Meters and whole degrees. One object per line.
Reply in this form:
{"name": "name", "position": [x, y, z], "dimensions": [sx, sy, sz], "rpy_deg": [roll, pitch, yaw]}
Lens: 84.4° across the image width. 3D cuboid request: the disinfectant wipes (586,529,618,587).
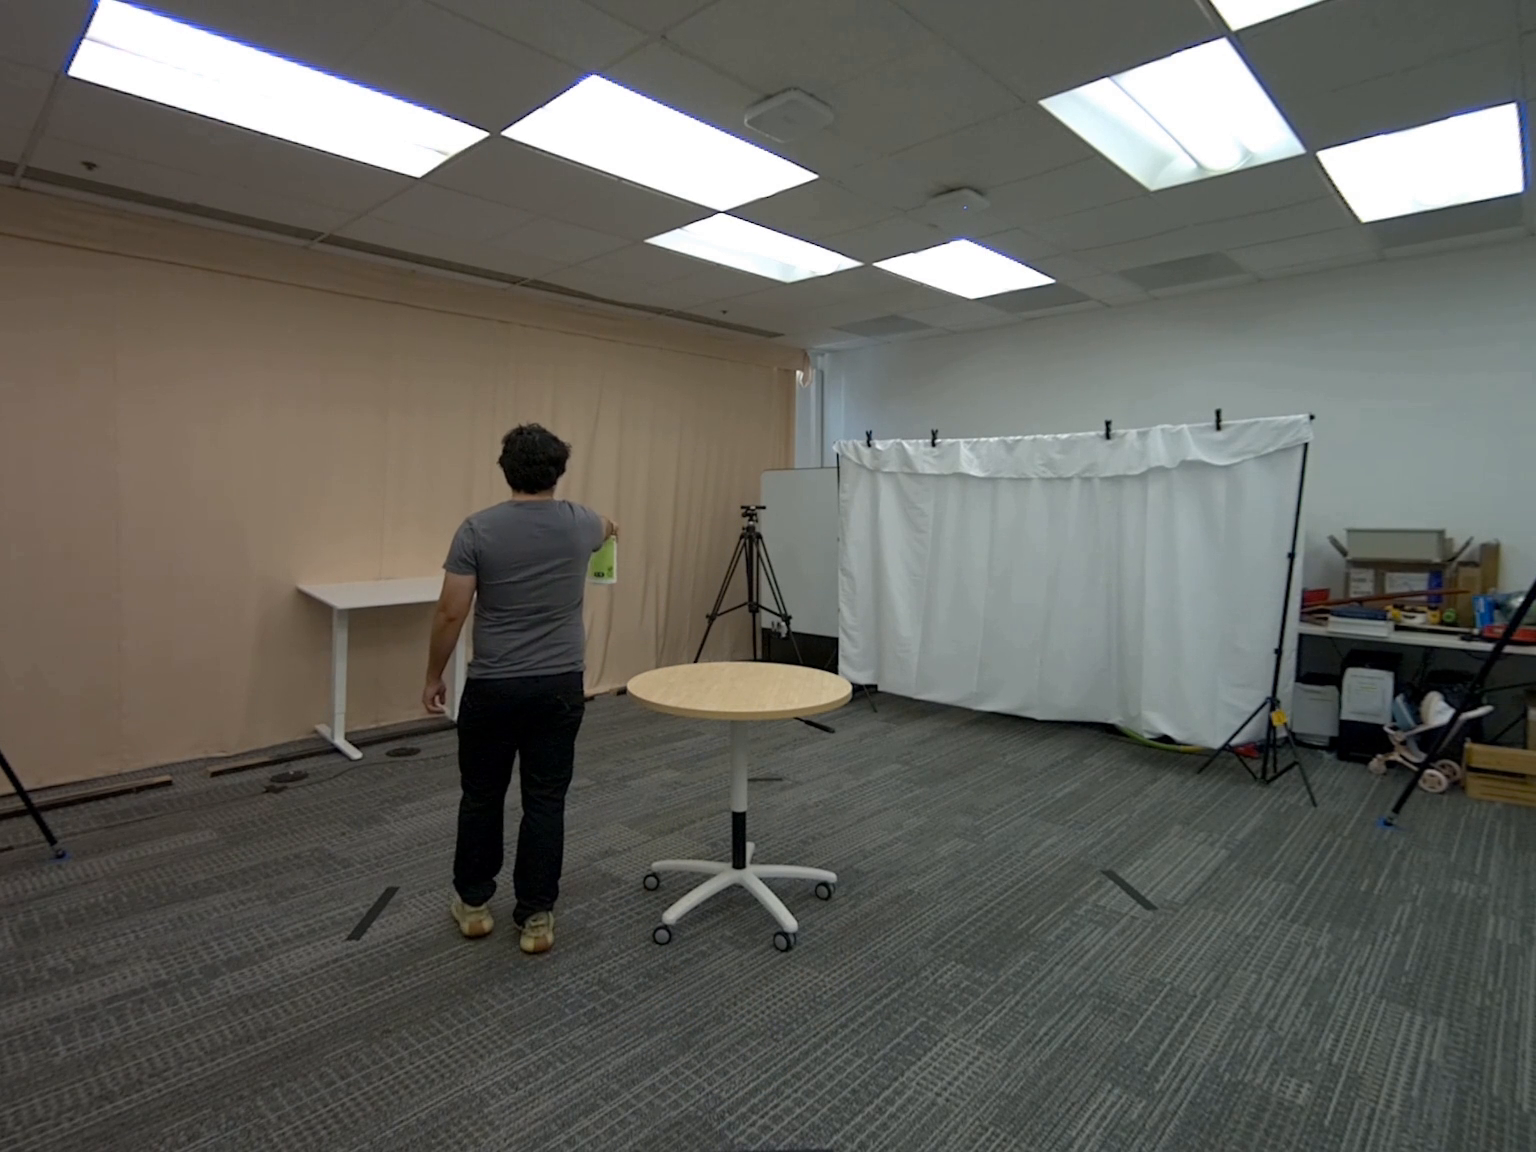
{"name": "disinfectant wipes", "position": [-0.665, -0.077, 3.352], "dimensions": [0.118, 0.217, 0.118], "rpy_deg": [1, 3, -2]}
